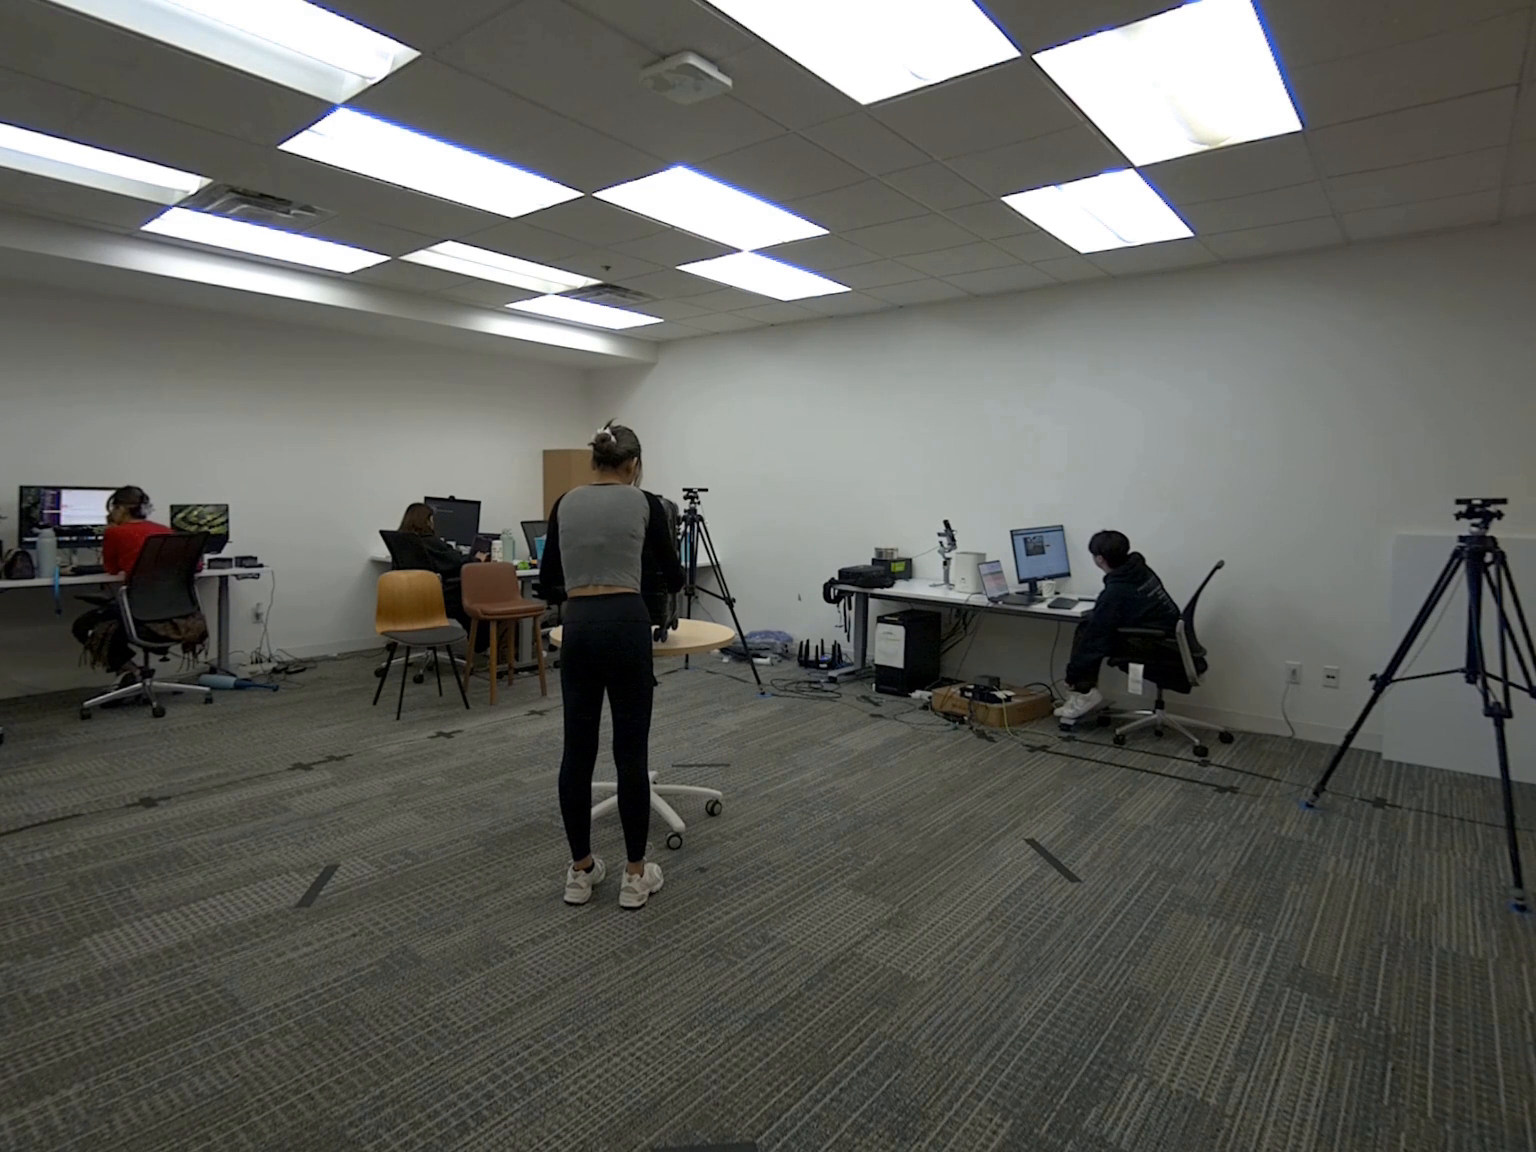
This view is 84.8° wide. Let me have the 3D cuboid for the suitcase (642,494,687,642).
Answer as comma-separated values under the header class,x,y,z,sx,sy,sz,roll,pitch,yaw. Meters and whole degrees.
class,x,y,z,sx,sy,sz,roll,pitch,yaw
suitcase,-0.542,-0.050,3.366,0.380,0.546,0.247,3,6,10
